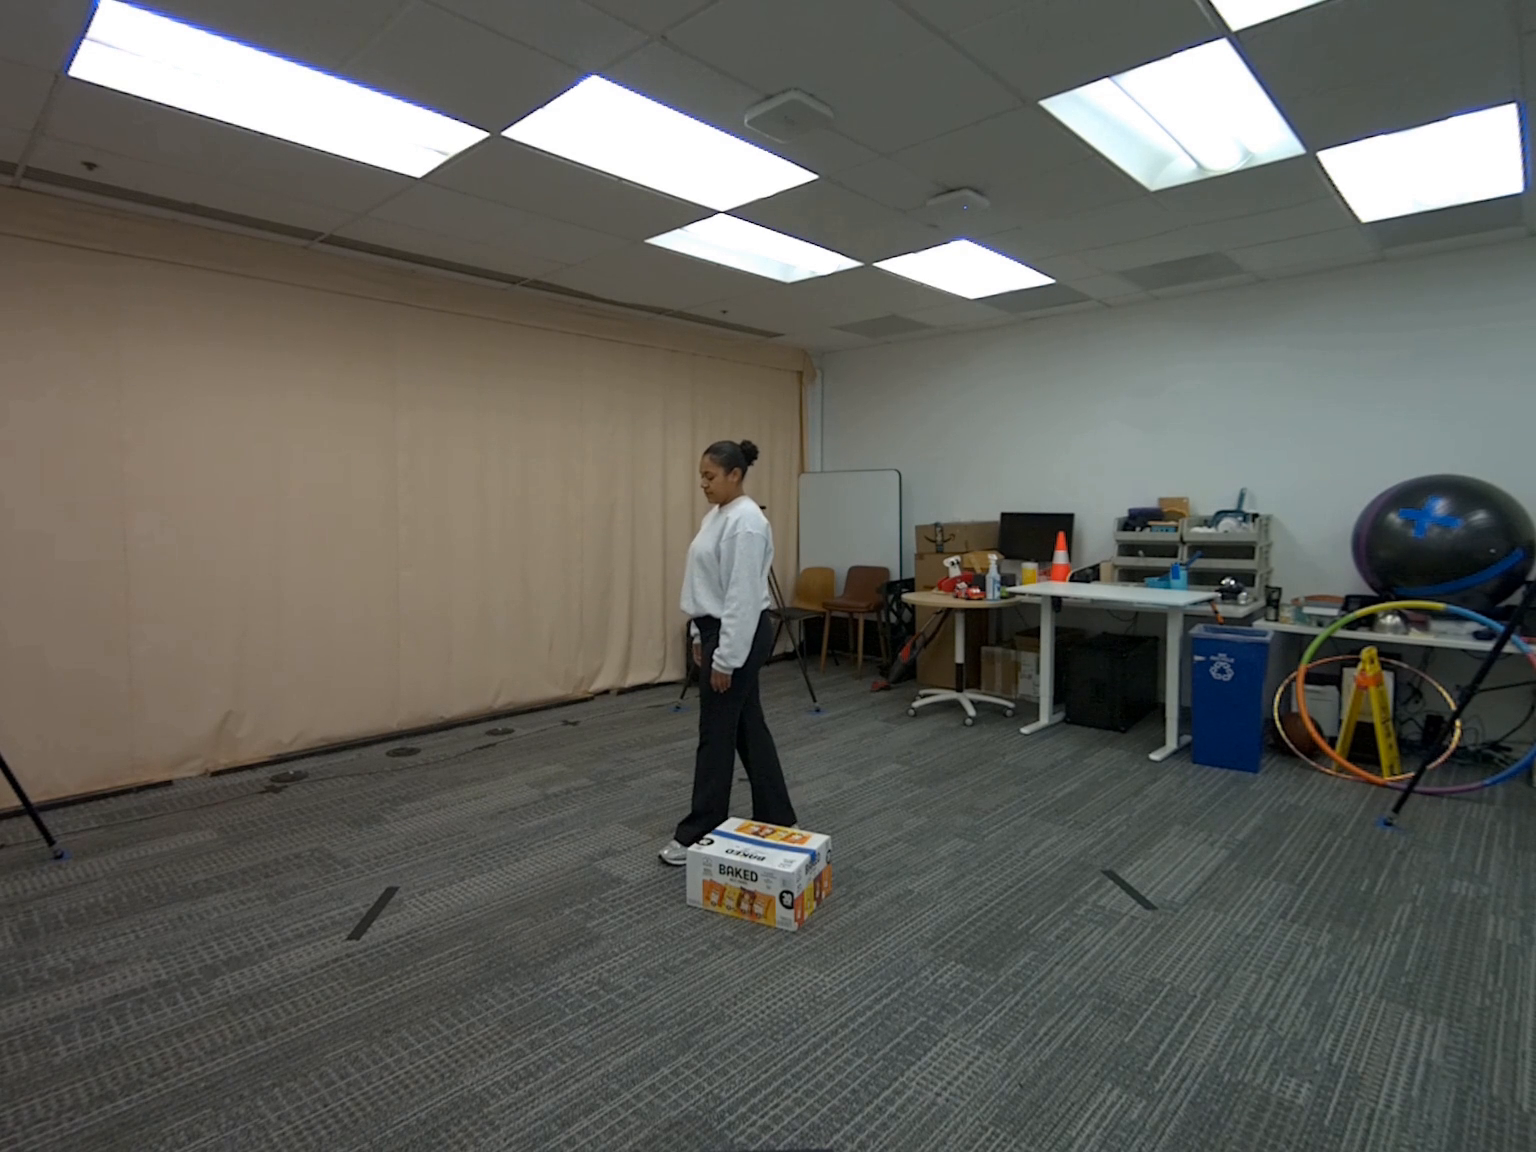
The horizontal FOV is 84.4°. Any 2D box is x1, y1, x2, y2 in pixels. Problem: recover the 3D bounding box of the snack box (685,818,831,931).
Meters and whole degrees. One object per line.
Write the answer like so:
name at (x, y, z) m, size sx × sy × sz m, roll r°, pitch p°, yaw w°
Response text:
snack box at (-0.023, 1.043, 2.978) m, size 0.416 × 0.205 × 0.332 m, roll 2°, pitch 5°, yaw 27°
